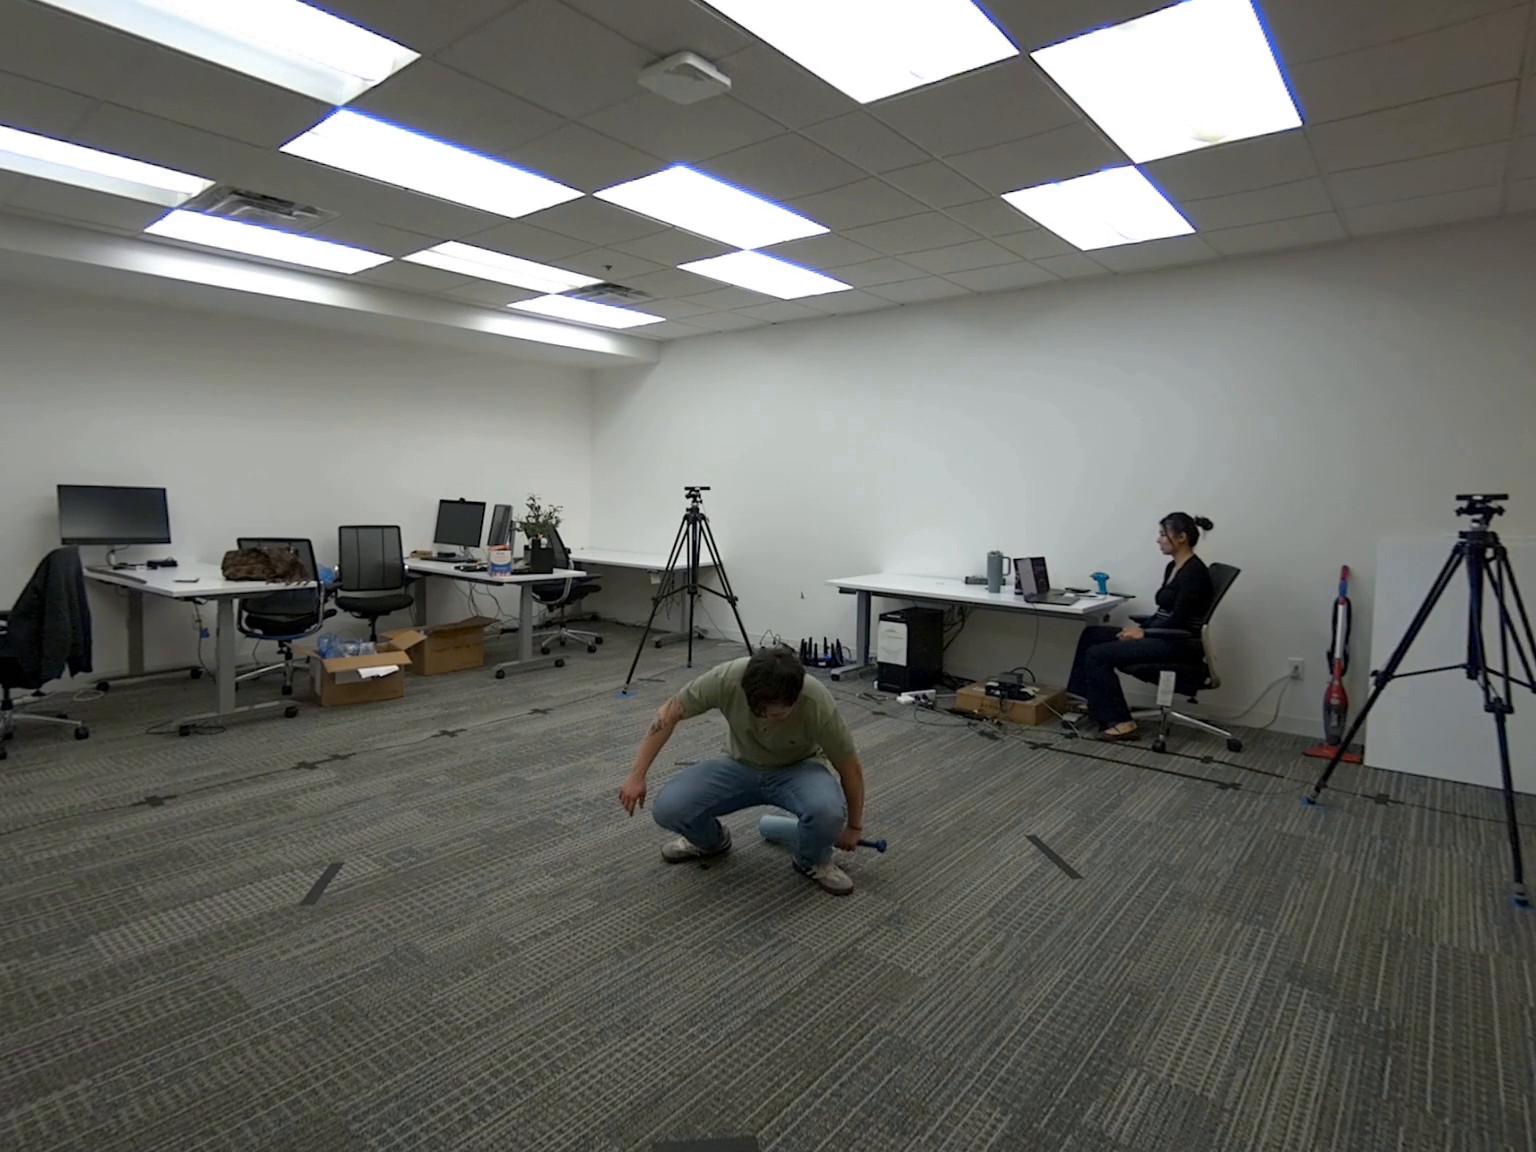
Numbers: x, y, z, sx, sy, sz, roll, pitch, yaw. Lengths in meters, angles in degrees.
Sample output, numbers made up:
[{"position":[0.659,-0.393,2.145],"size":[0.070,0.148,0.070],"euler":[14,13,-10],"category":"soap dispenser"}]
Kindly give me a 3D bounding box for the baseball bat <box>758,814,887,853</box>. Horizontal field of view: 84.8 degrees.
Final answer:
[{"position":[0.192,0.962,3.219],"size":[0.559,0.089,0.086],"euler":[-1,2,37],"category":"baseball bat"}]
